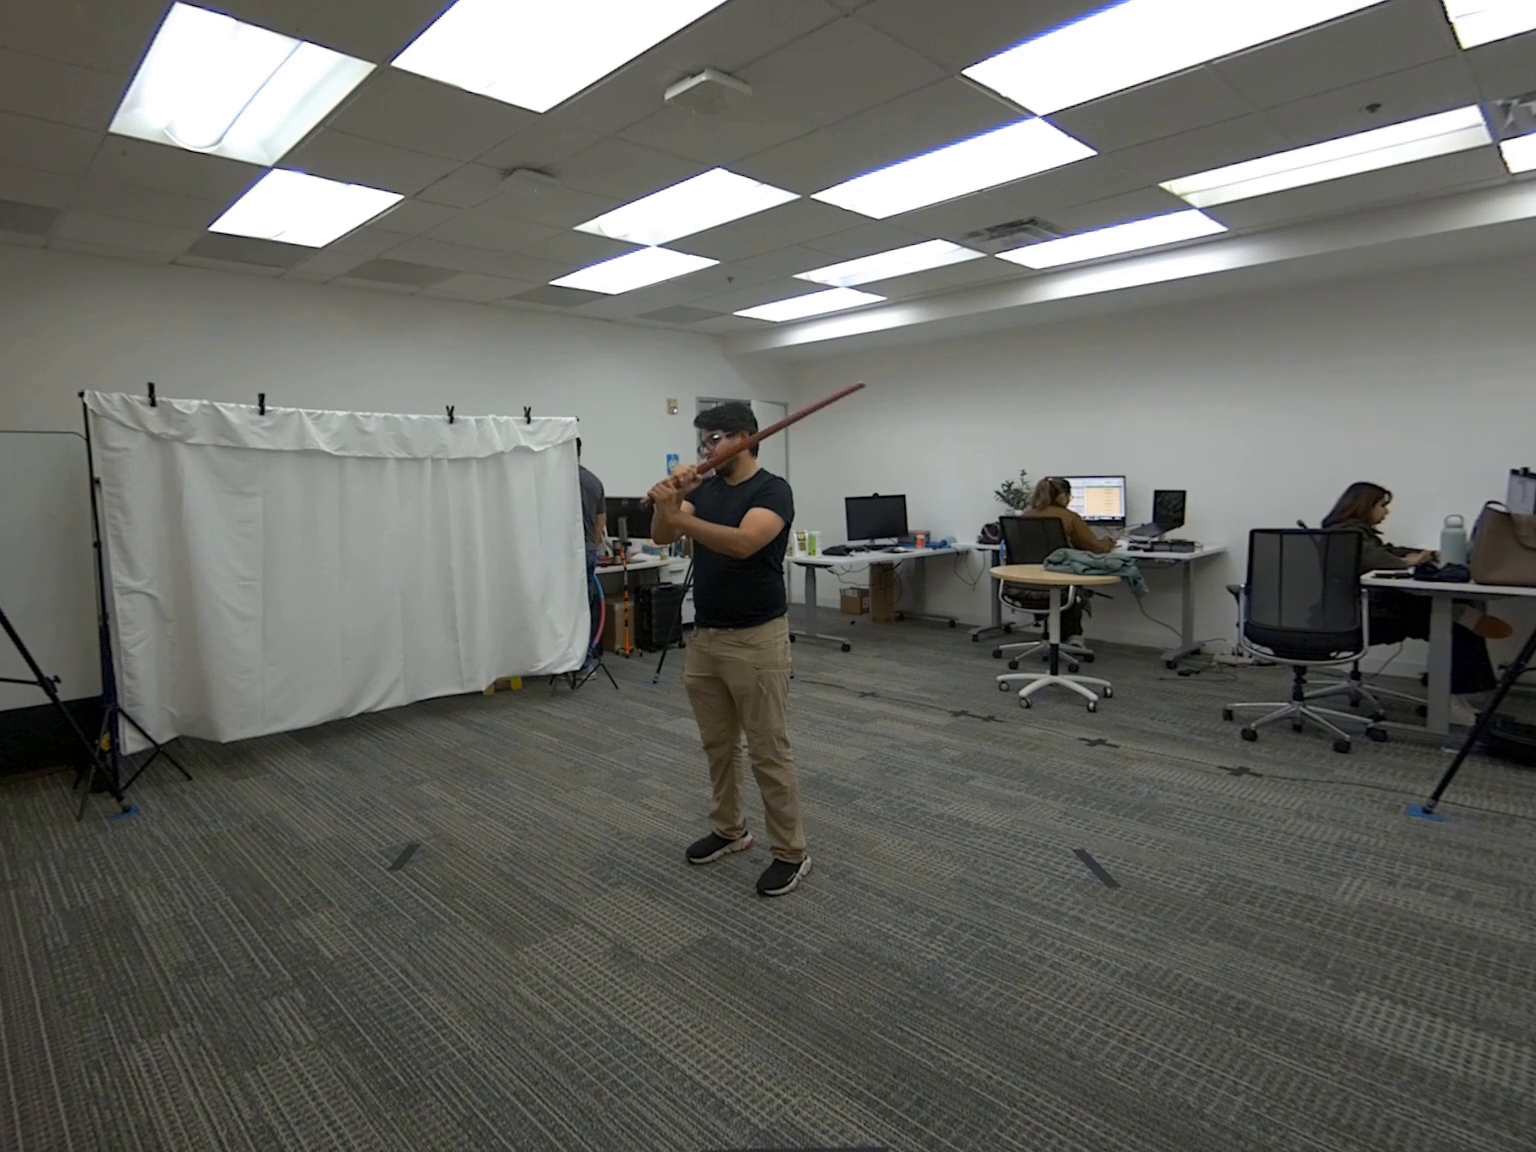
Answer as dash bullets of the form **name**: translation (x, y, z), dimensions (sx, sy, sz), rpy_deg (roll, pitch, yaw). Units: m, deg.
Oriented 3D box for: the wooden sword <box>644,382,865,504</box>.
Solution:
- **wooden sword**: translation (-0.018, -0.462, 2.846), dimensions (1.016, 0.023, 0.053), rpy_deg (-34, 63, -30)
